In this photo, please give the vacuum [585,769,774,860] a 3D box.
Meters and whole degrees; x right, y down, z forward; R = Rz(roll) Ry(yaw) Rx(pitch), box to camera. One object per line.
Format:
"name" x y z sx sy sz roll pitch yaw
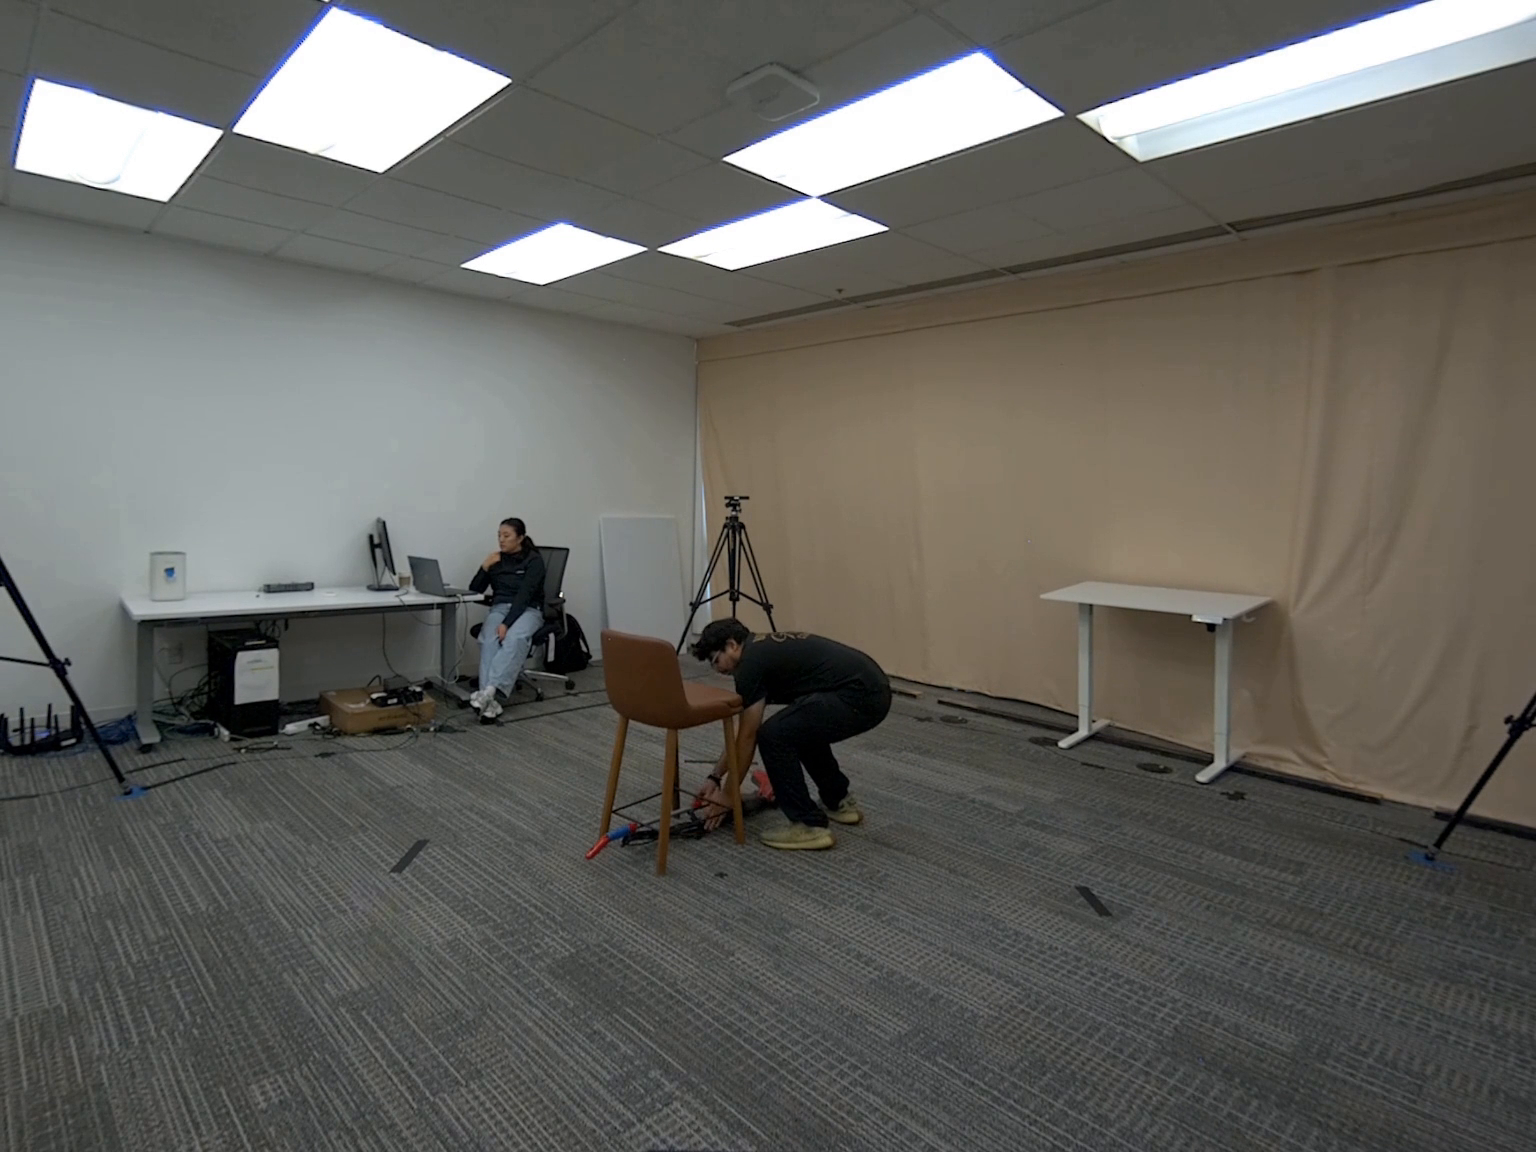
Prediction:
"vacuum" -0.333 1.012 3.475 0.258 0.144 1.026 1 4 42
